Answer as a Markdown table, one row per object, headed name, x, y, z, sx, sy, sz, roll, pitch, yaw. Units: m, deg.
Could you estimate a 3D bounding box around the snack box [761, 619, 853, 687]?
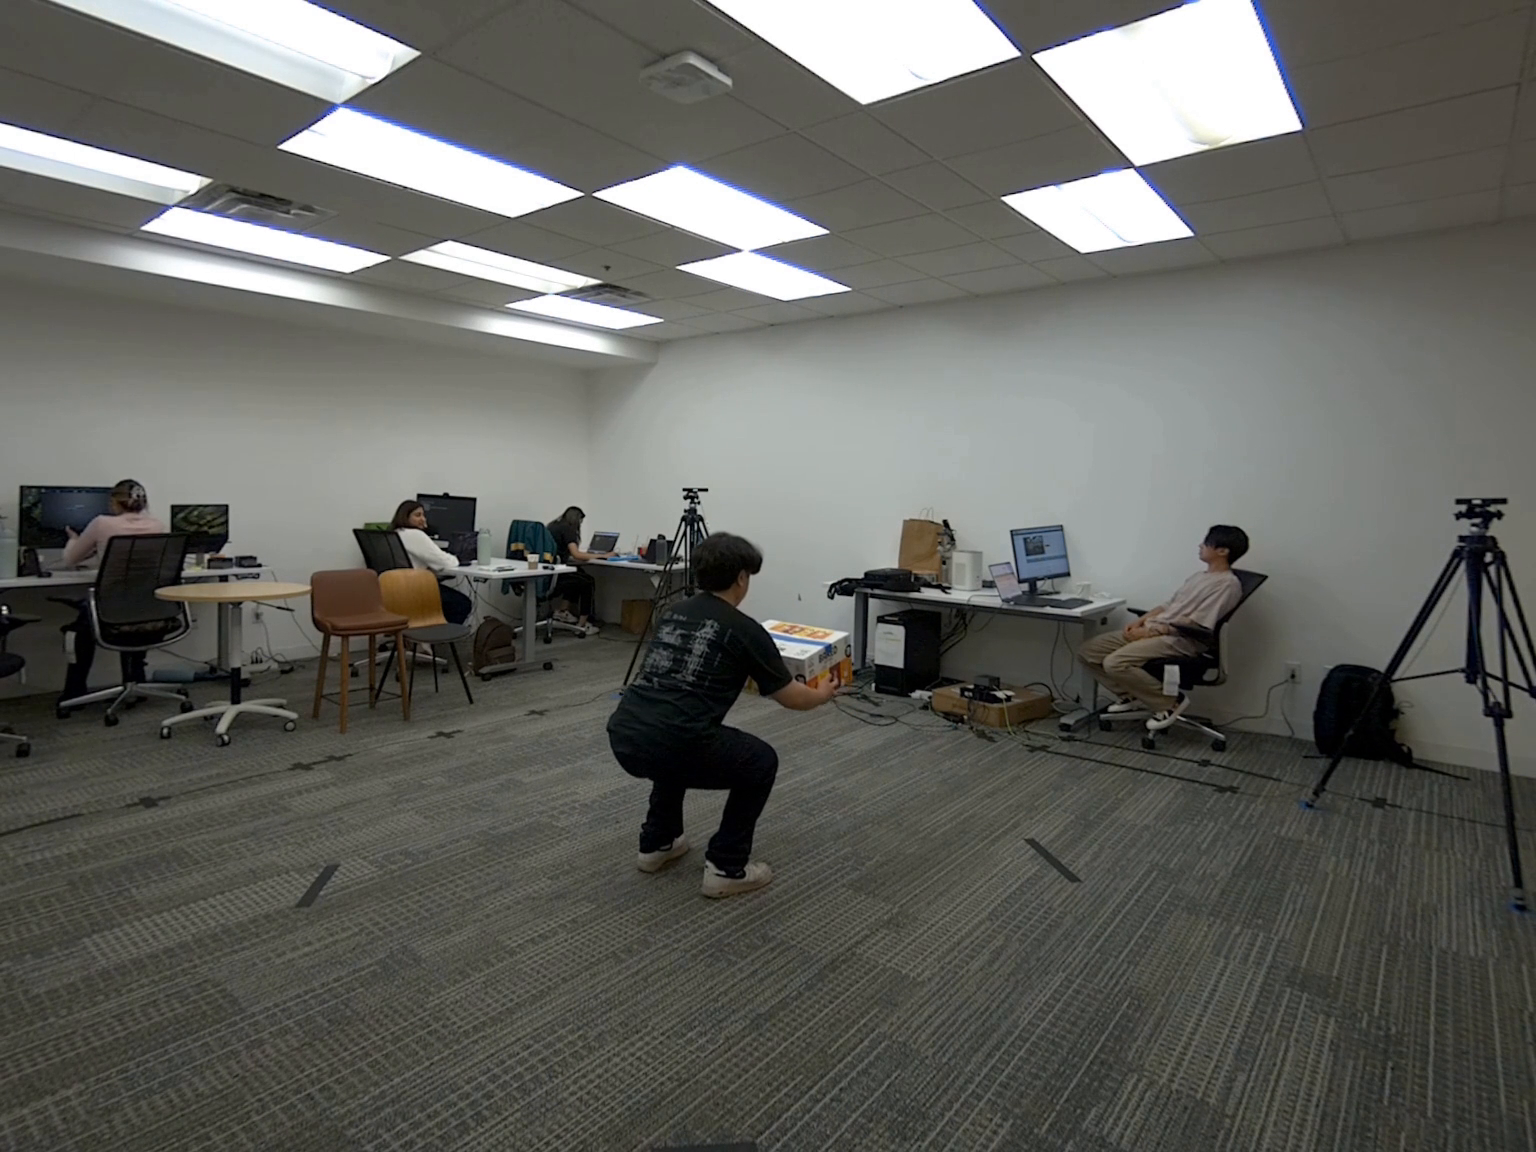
| name | x | y | z | sx | sy | sz | roll | pitch | yaw |
| --- | --- | --- | --- | --- | --- | --- | --- | --- | --- |
| snack box | 0.068 | 0.342 | 3.465 | 0.419 | 0.203 | 0.333 | 6 | 17 | 37 |
